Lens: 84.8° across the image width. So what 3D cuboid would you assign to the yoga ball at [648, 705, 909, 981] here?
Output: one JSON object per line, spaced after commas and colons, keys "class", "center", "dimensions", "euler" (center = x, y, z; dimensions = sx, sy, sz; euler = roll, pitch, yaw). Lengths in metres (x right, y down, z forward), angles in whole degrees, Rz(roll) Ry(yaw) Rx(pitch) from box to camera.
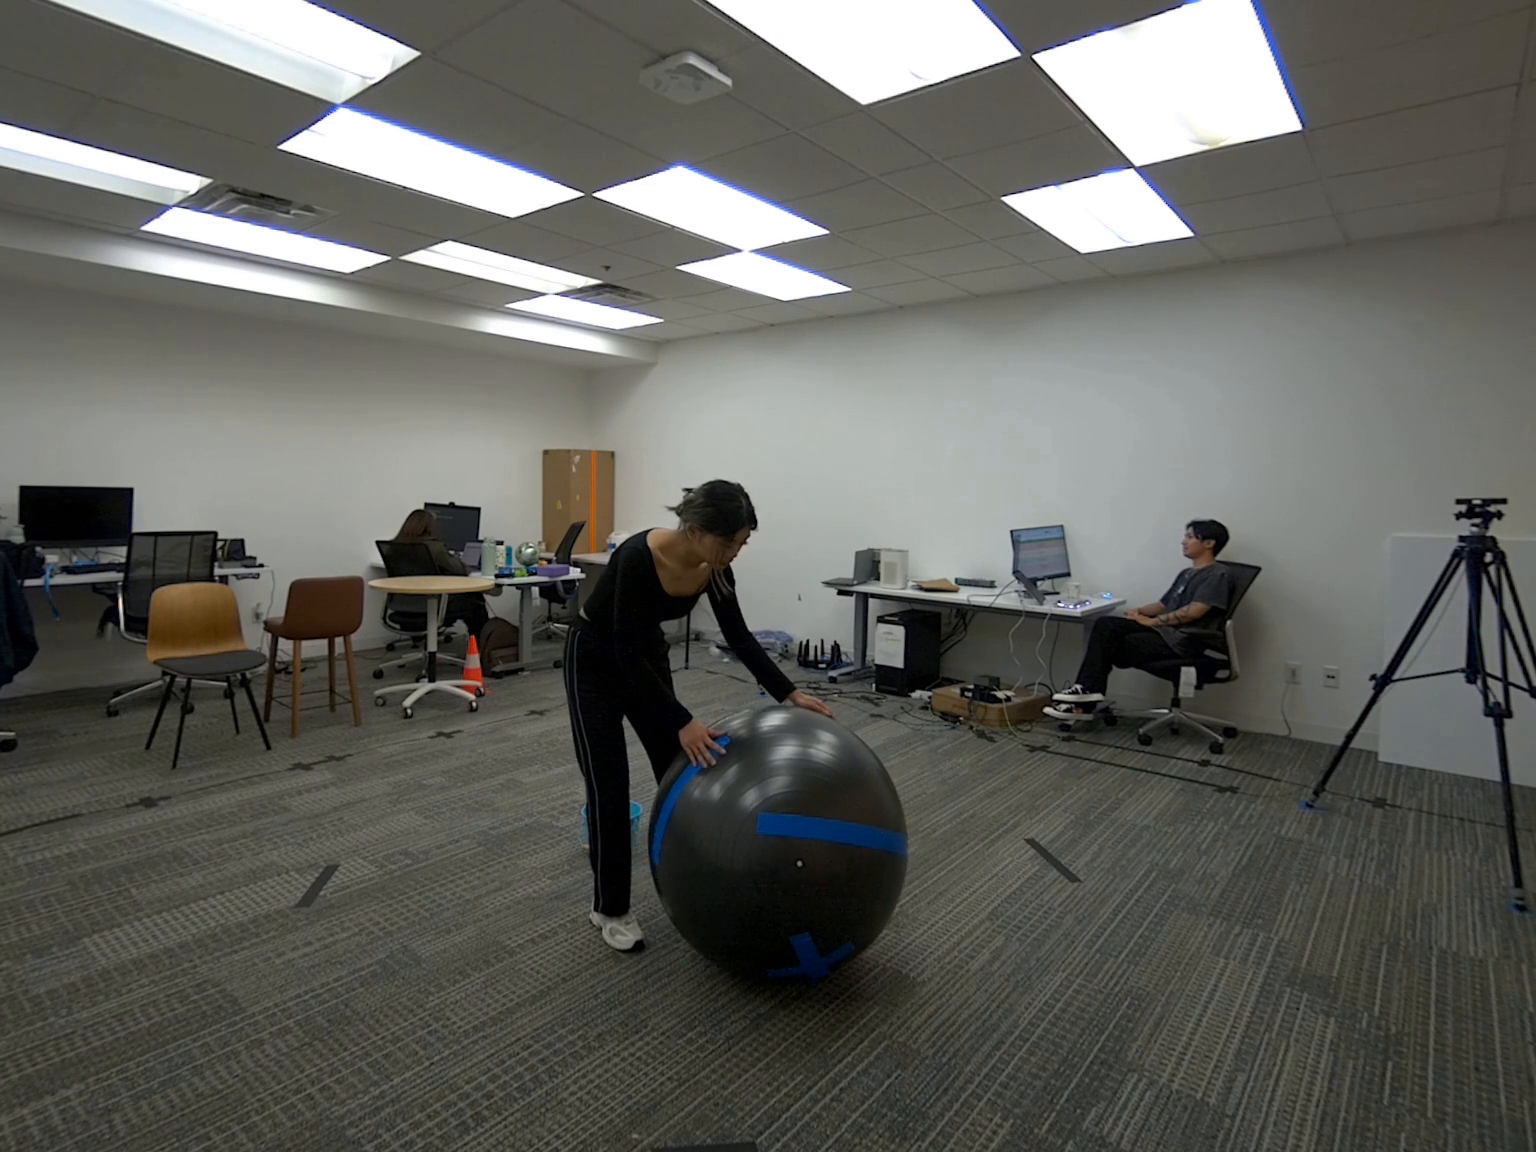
{"class": "yoga ball", "center": [0.027, 0.779, 2.494], "dimensions": [0.757, 0.755, 0.762], "euler": [1, 4, -2]}
